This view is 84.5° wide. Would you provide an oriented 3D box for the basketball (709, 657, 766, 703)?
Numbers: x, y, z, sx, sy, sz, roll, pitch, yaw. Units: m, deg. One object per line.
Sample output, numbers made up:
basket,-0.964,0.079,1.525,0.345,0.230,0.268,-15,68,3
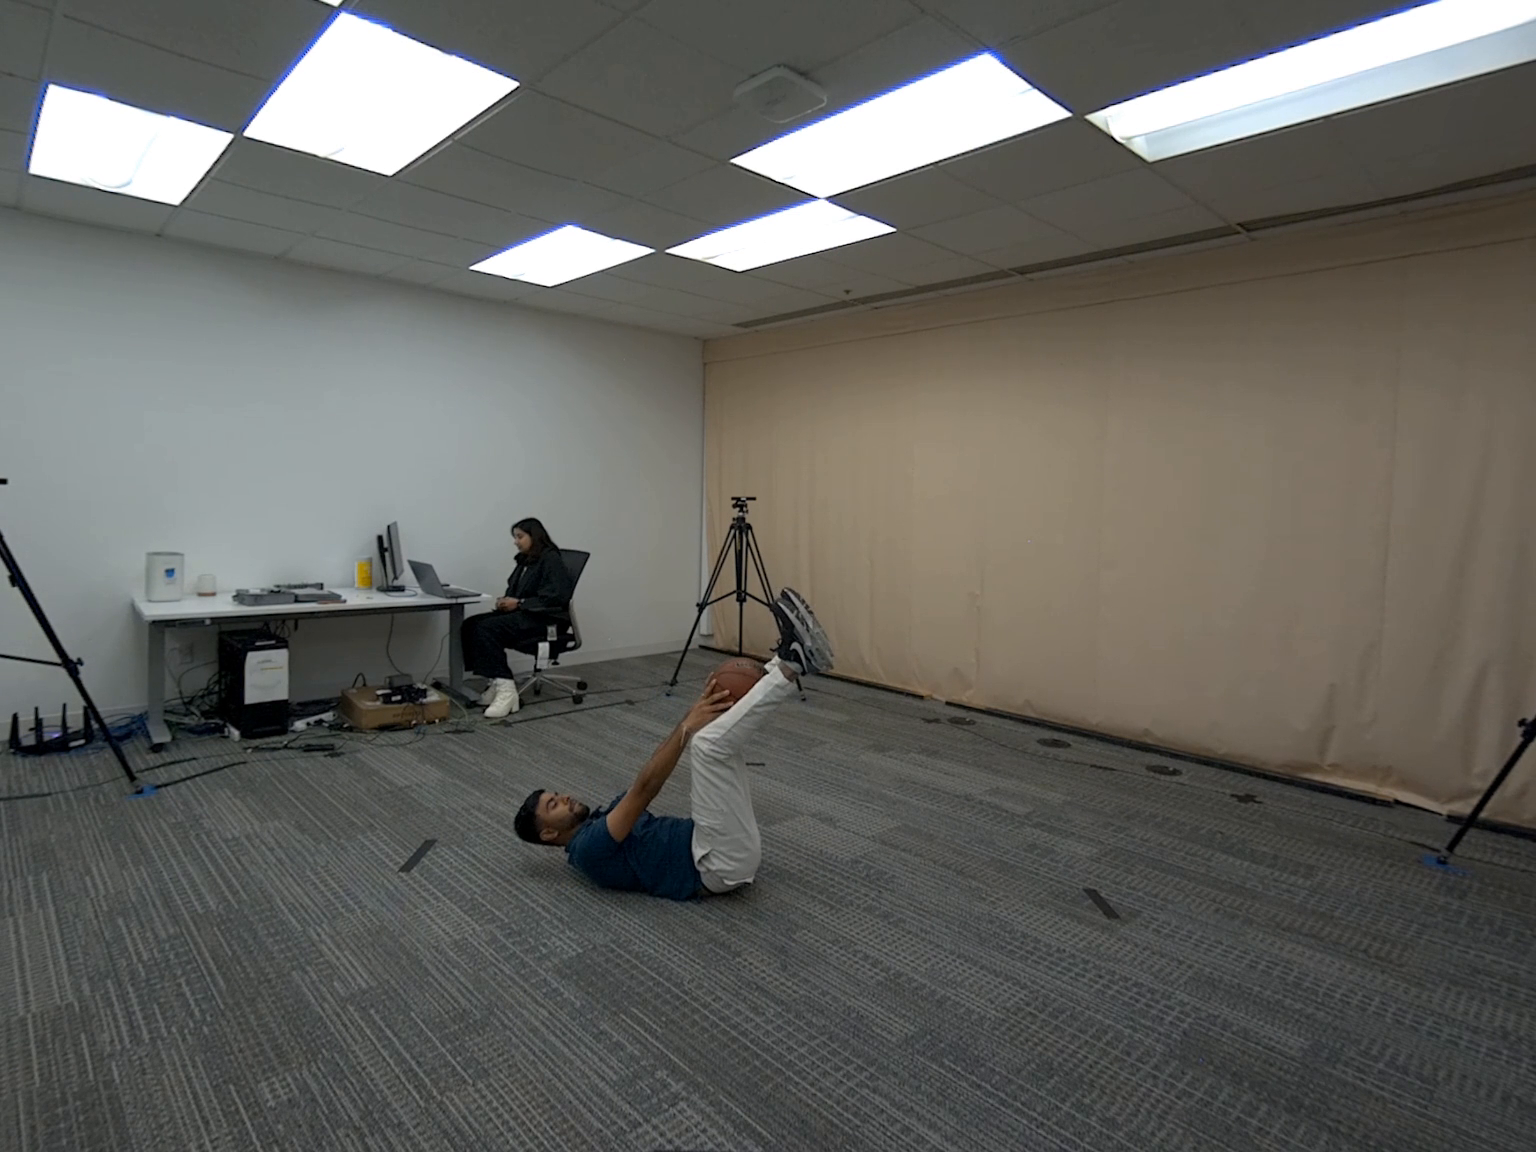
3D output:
basketball,-0.096,0.407,3.003,0.236,0.235,0.237,1,4,-1
